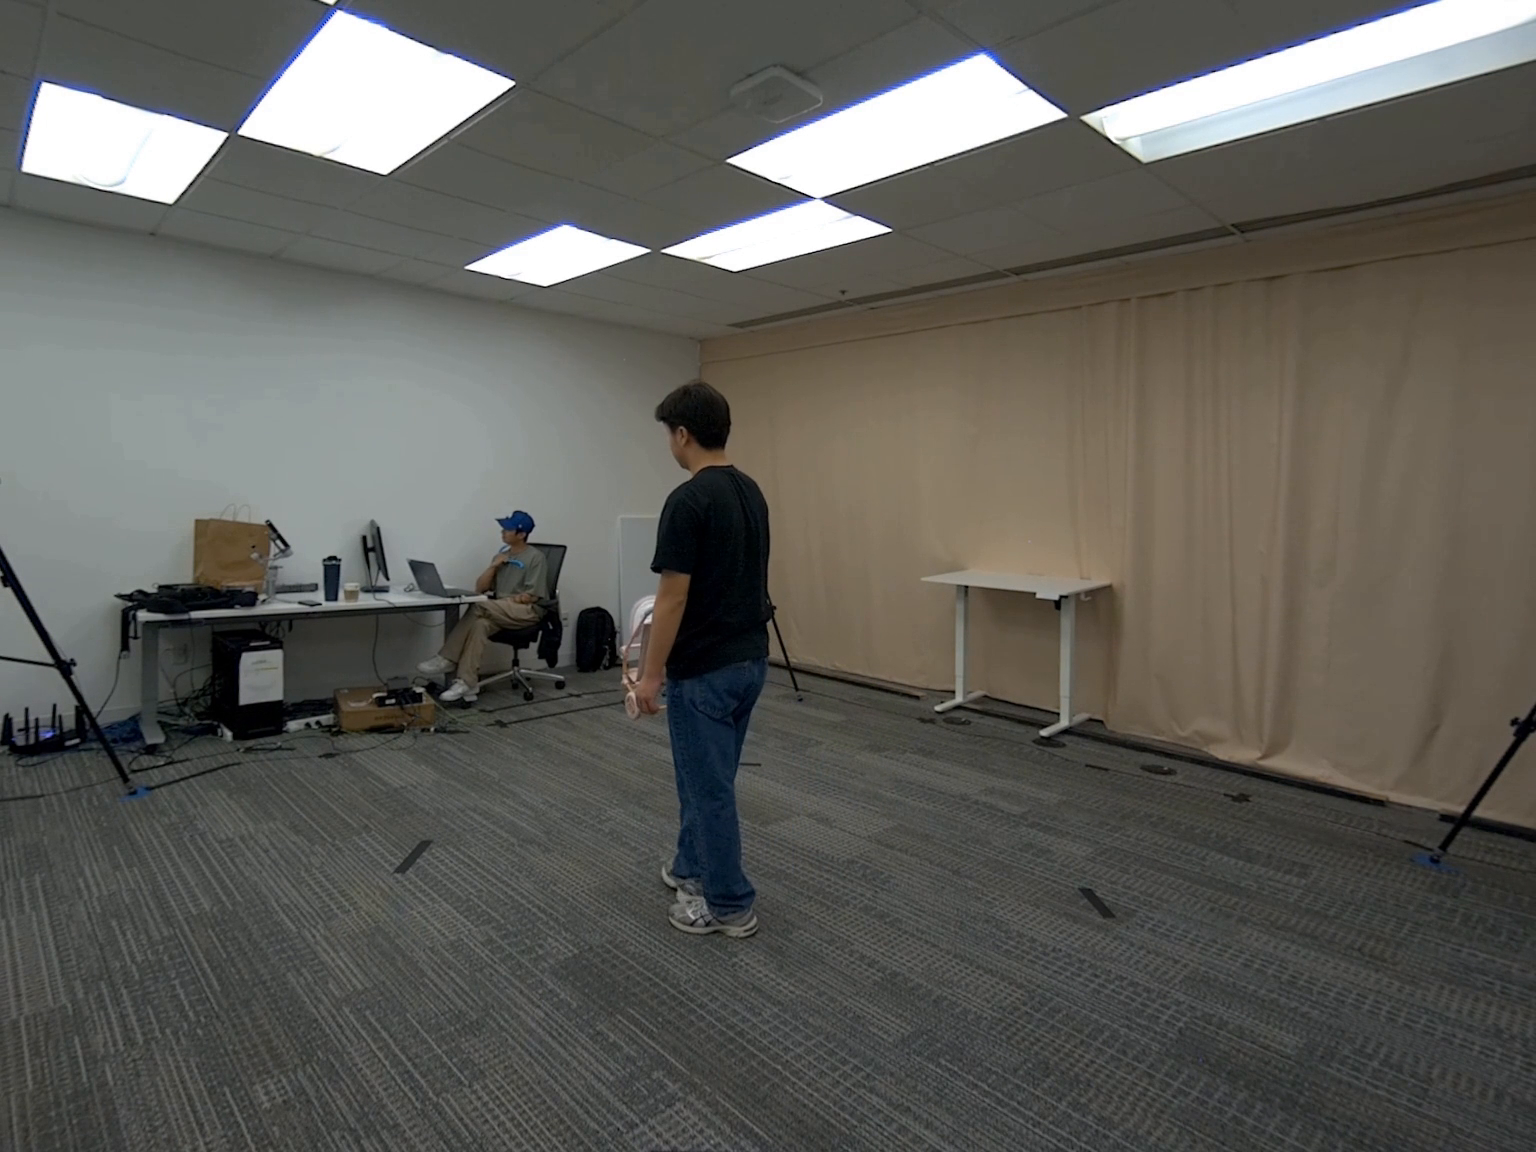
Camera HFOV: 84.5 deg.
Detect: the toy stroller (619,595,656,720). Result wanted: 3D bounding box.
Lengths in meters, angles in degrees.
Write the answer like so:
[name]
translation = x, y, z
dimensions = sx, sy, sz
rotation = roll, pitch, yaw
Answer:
[toy stroller]
translation = -0.462, 0.325, 3.387
dimensions = 0.276, 0.530, 0.350
rotation = -2, 14, -28
